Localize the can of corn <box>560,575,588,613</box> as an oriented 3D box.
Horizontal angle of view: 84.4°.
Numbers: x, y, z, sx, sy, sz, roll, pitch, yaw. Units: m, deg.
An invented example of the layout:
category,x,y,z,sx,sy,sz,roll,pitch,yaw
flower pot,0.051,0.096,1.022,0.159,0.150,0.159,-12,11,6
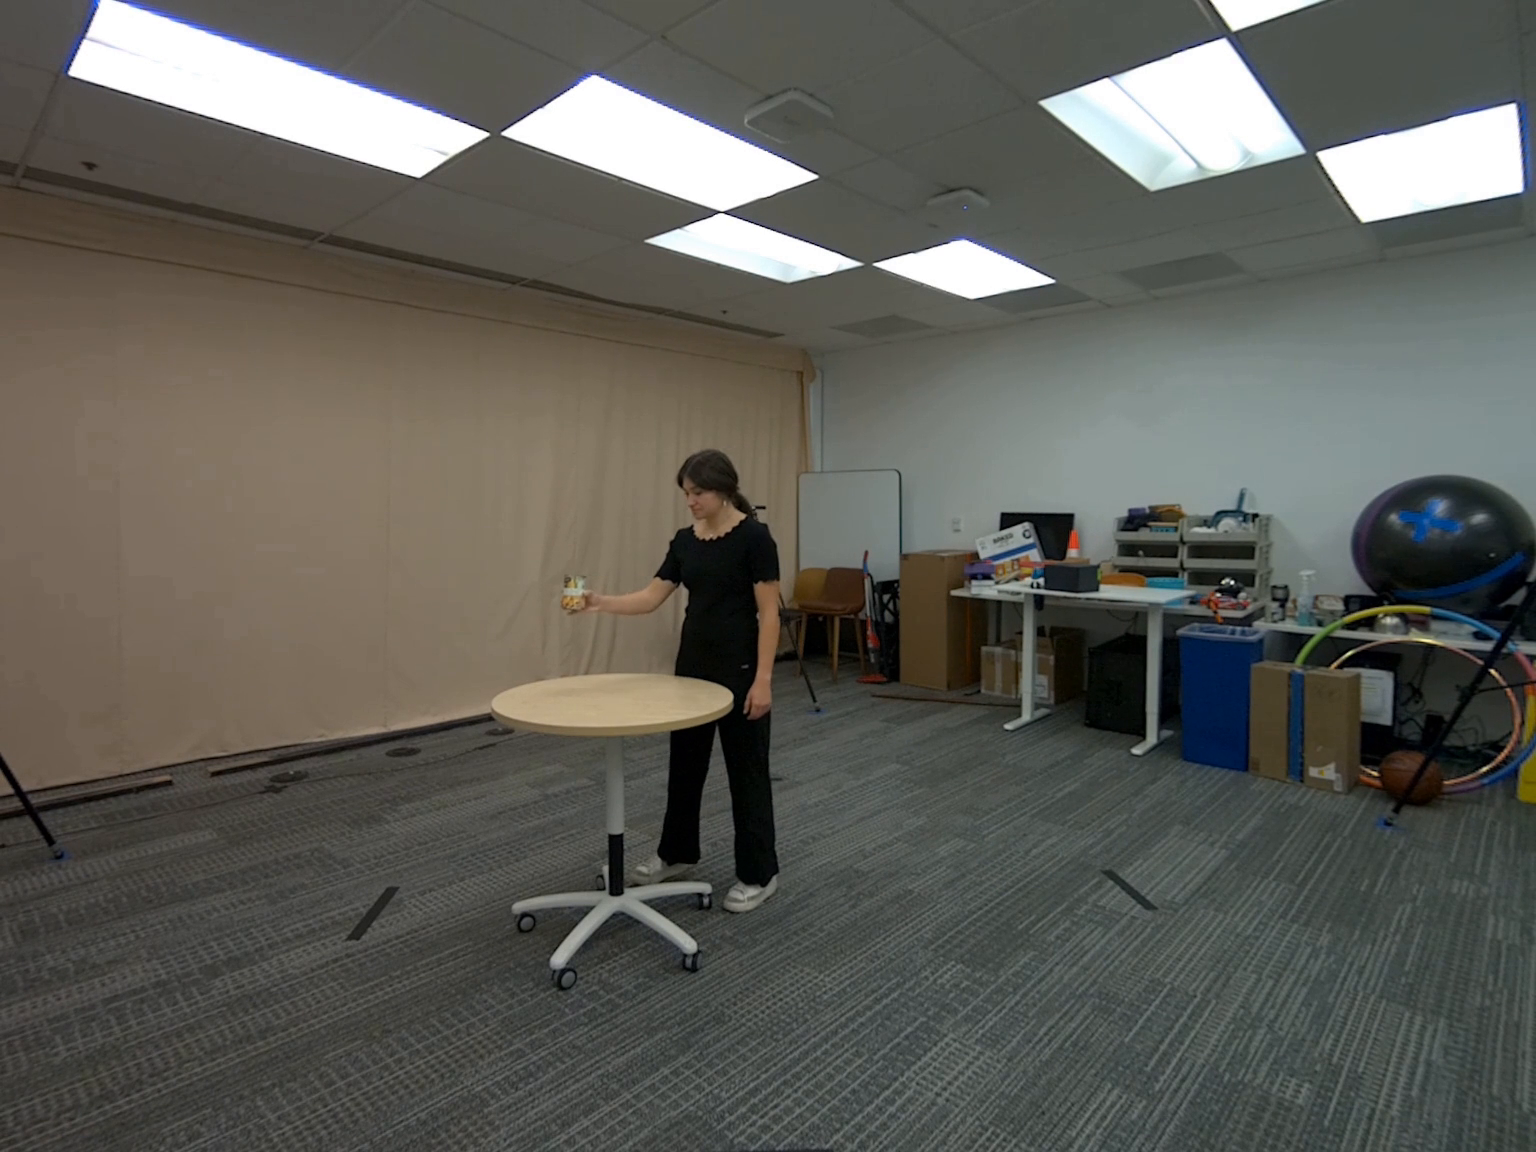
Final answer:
category,x,y,z,sx,sy,sz,roll,pitch,yaw
can of corn,-0.642,0.052,2.812,0.074,0.111,0.074,2,-1,-2
